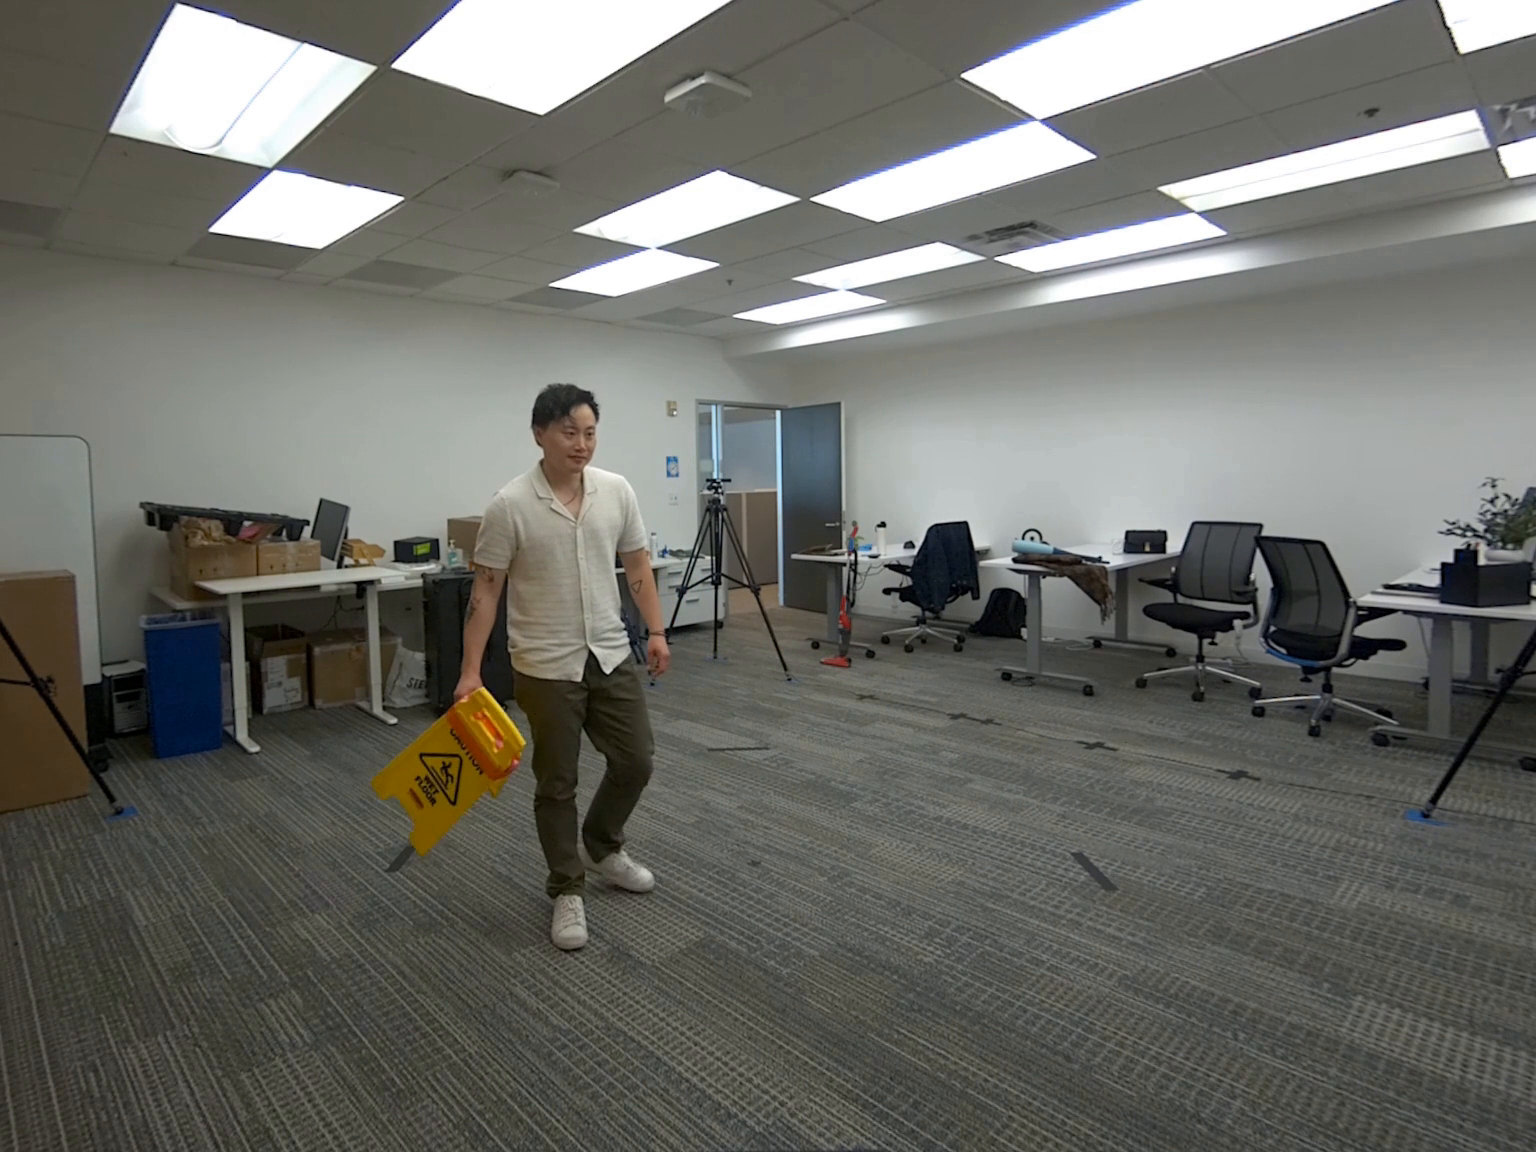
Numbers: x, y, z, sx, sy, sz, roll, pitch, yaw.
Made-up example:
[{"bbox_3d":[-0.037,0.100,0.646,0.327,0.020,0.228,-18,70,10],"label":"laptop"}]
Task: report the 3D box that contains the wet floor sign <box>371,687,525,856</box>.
[{"bbox_3d":[-0.870,0.521,2.481,0.287,0.284,0.648,-35,-5,-45],"label":"wet floor sign"}]
